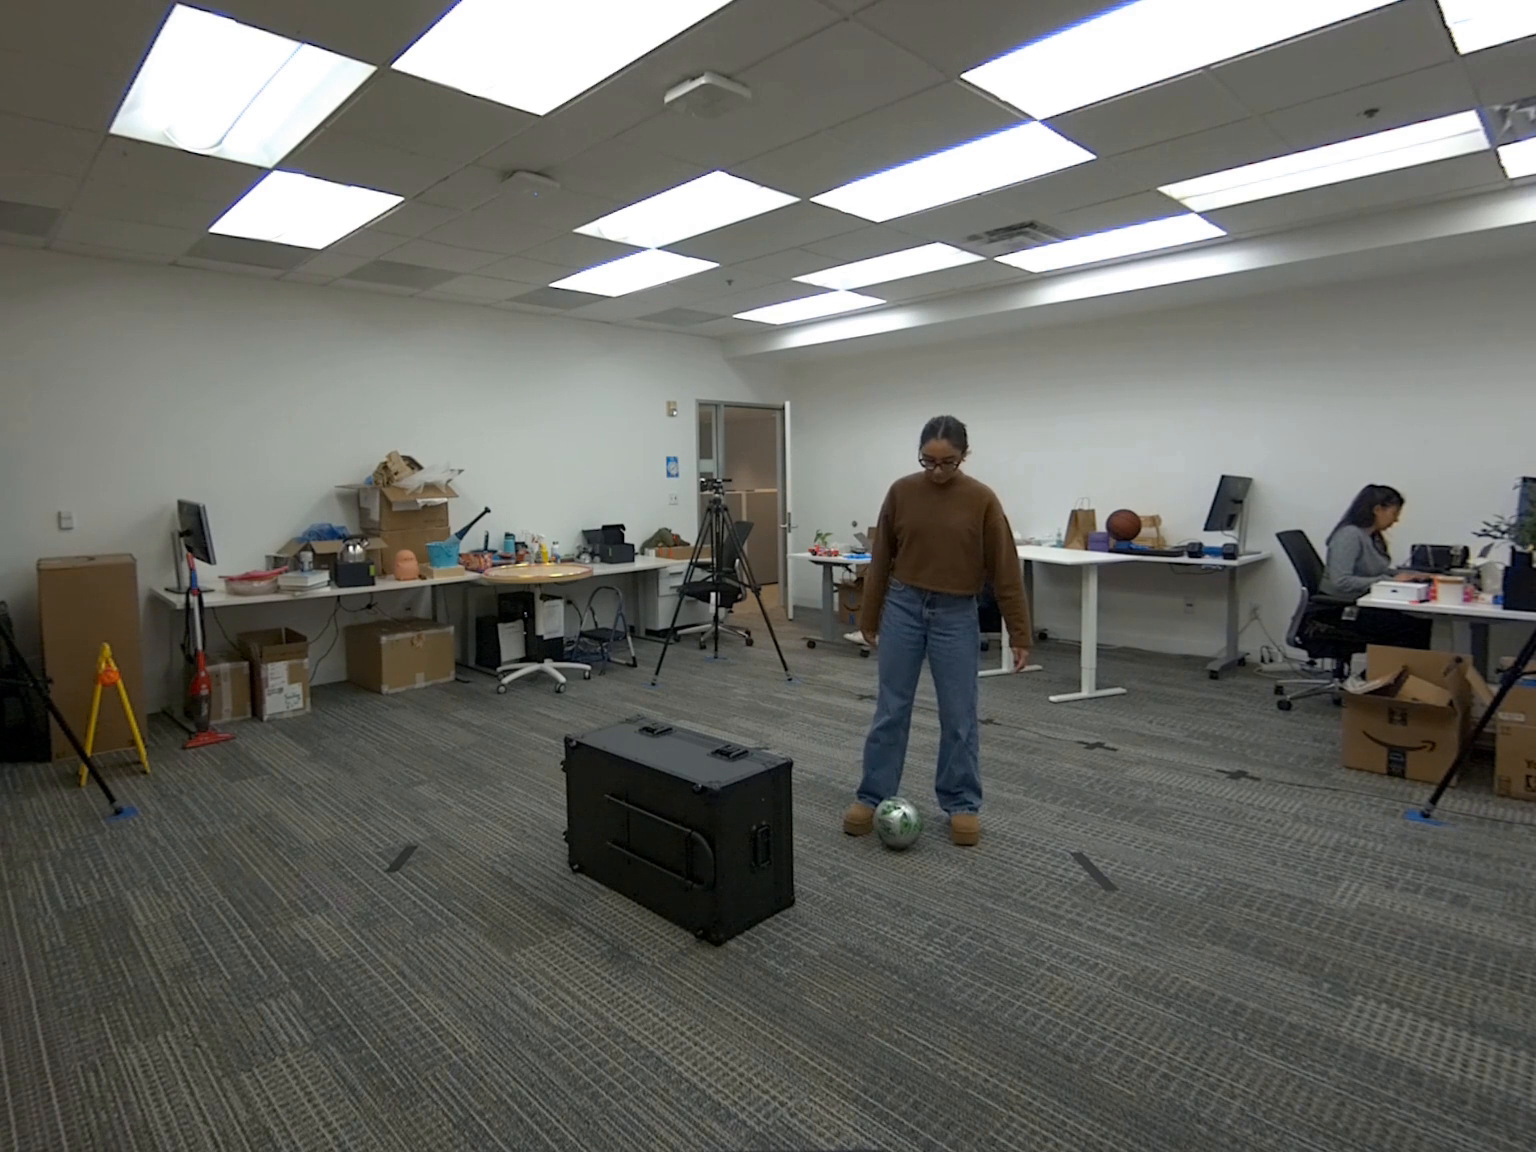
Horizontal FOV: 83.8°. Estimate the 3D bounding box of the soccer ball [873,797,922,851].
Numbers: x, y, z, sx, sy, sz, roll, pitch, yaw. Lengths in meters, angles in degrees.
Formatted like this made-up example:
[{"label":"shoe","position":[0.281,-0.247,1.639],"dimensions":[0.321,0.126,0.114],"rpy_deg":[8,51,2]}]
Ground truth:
[{"label":"soccer ball","position":[0.474,0.919,3.212],"dimensions":[0.187,0.187,0.188],"rpy_deg":[-1,5,-2]}]
